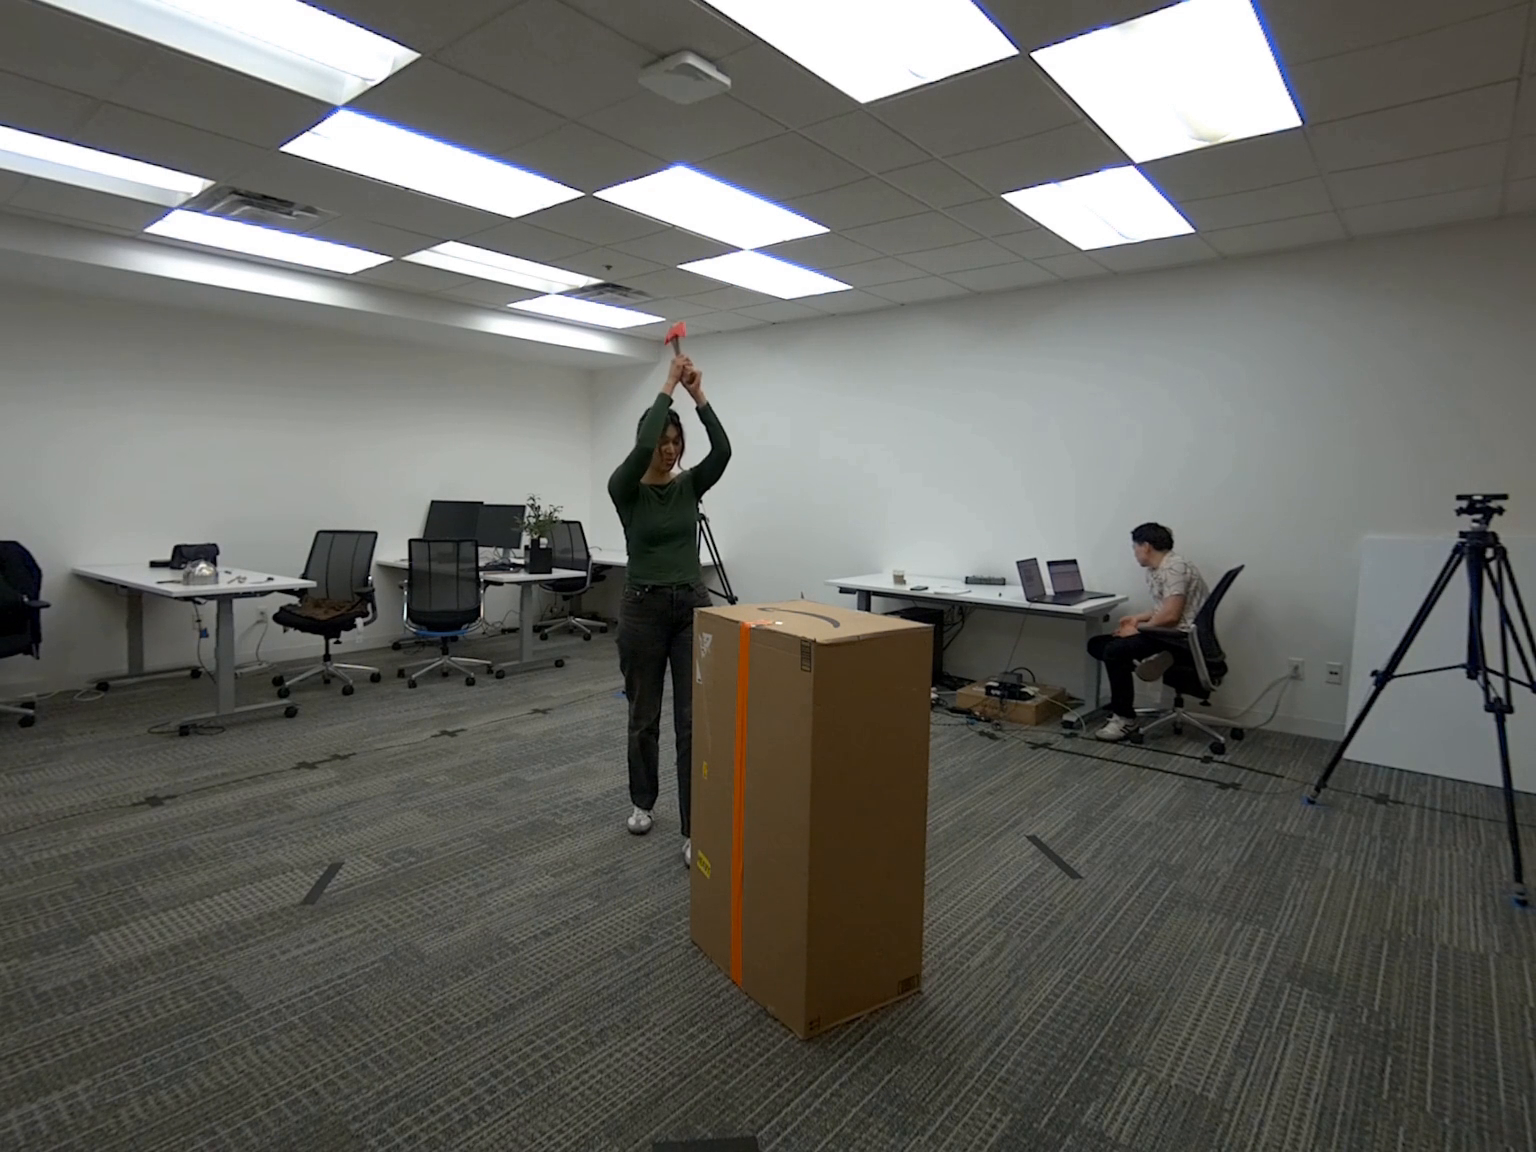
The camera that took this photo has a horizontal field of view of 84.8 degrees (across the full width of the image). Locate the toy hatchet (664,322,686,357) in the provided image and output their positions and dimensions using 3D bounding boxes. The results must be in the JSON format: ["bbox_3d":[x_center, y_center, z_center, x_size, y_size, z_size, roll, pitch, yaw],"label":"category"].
[{"bbox_3d":[-0.313,-0.824,3.125,0.028,0.130,0.280,7,42,-42],"label":"toy hatchet"}]
